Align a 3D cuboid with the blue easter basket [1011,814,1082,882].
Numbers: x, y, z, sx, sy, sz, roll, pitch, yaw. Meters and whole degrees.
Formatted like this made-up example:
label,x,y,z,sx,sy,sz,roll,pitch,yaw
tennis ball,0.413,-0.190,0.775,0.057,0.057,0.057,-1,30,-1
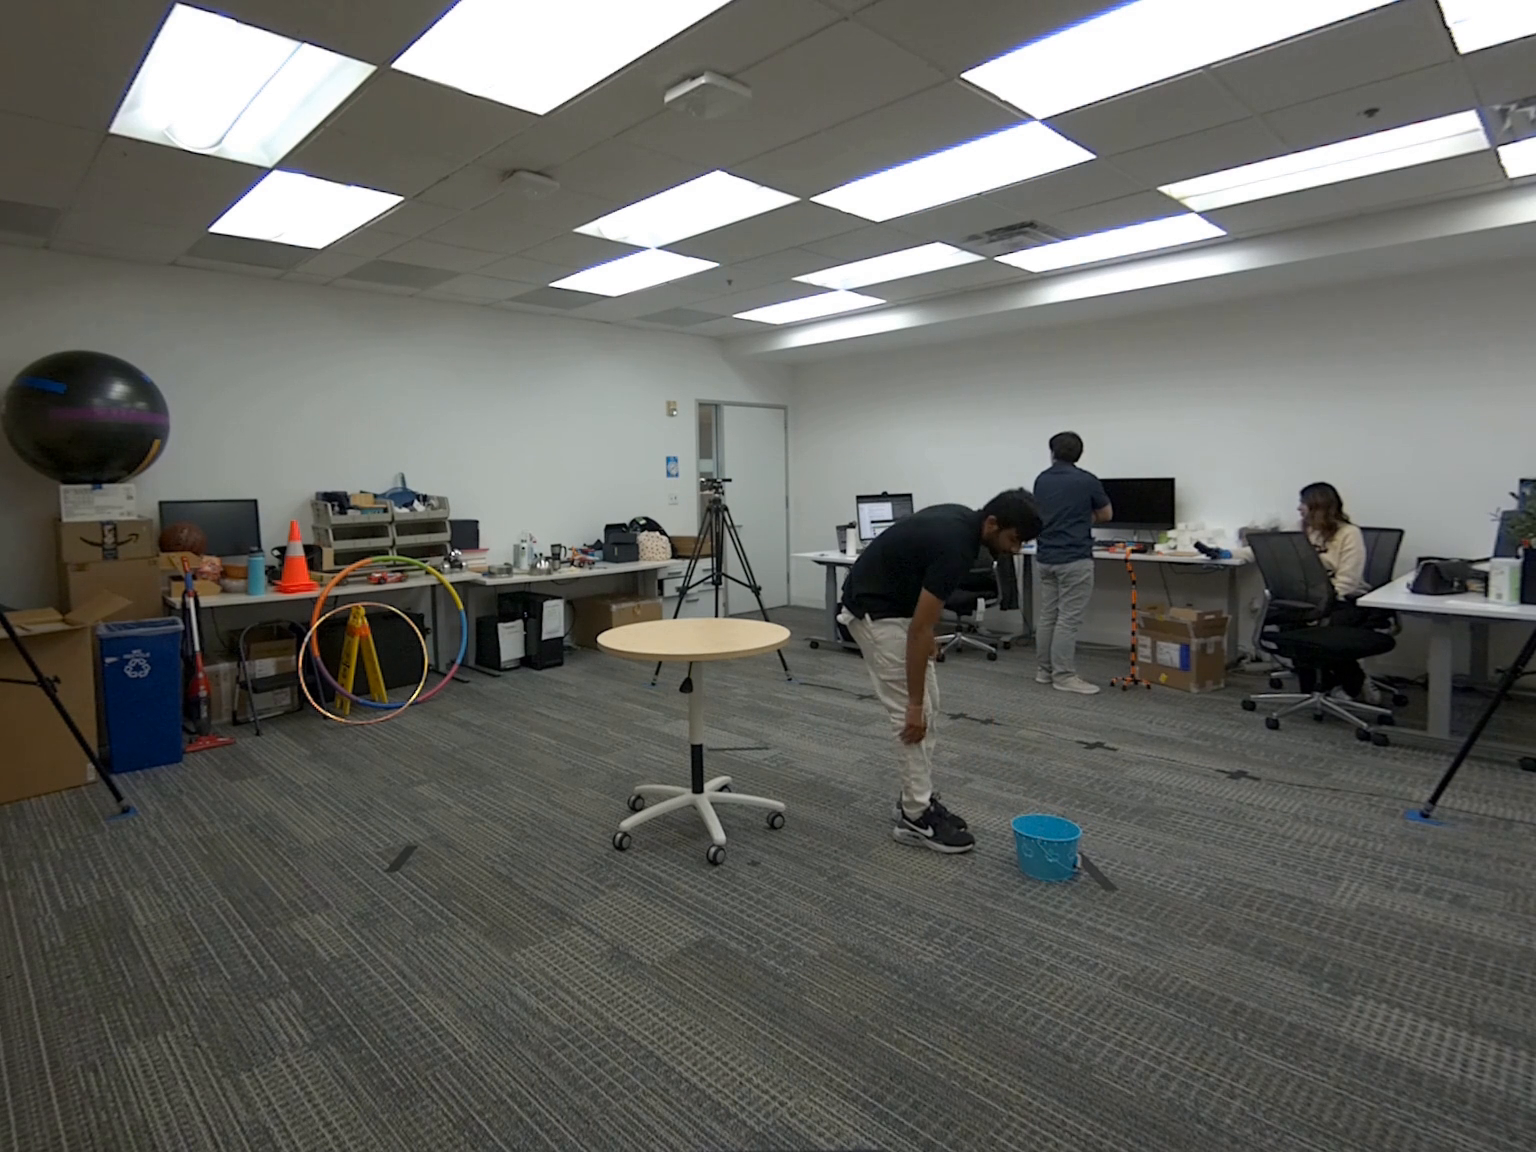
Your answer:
label,x,y,z,sx,sy,sz,roll,pitch,yaw
blue easter basket,0.984,0.959,3.011,0.243,0.155,0.245,-2,5,-2
